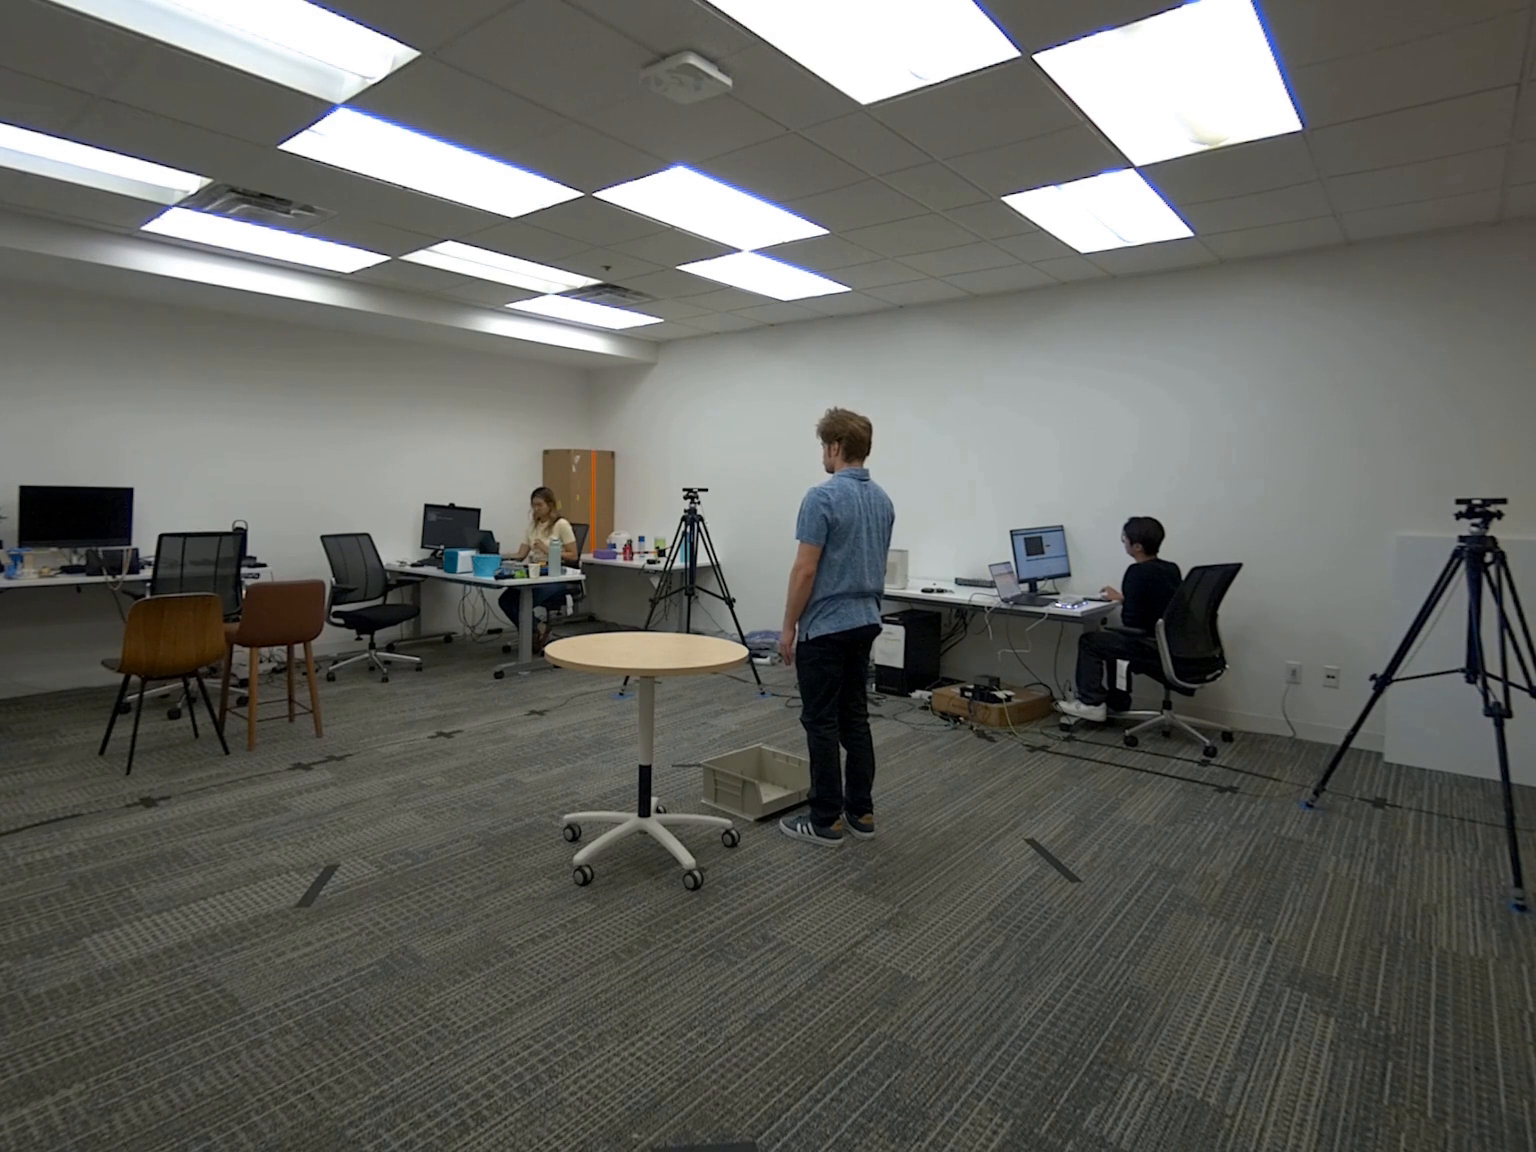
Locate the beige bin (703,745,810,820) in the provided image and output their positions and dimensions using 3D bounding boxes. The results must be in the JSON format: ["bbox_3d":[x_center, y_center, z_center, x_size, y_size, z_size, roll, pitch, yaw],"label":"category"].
[{"bbox_3d":[-0.041,0.920,3.803,0.390,0.188,0.410,5,7,42],"label":"beige bin"}]
